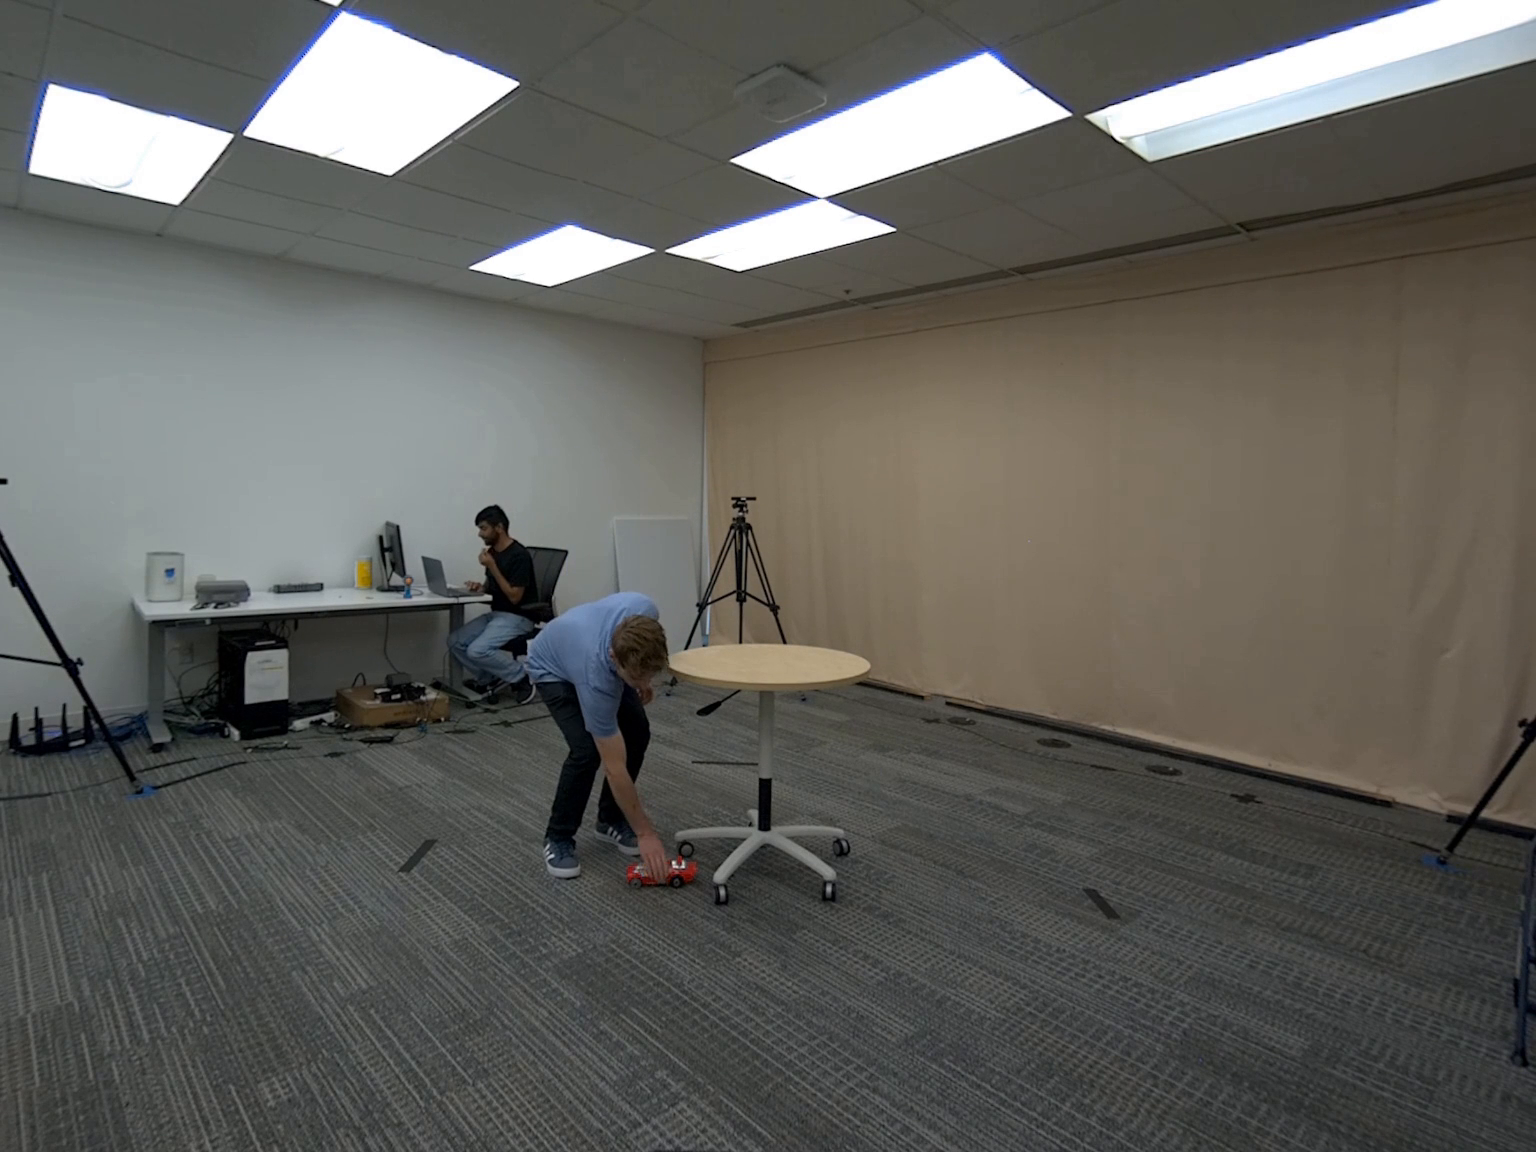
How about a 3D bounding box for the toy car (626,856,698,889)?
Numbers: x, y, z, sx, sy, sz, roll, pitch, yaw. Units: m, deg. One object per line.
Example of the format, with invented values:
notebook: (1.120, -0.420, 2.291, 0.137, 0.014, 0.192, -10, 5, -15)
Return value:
toy car: (-0.393, 1.078, 3.043, 0.254, 0.083, 0.131, -9, 4, -3)
